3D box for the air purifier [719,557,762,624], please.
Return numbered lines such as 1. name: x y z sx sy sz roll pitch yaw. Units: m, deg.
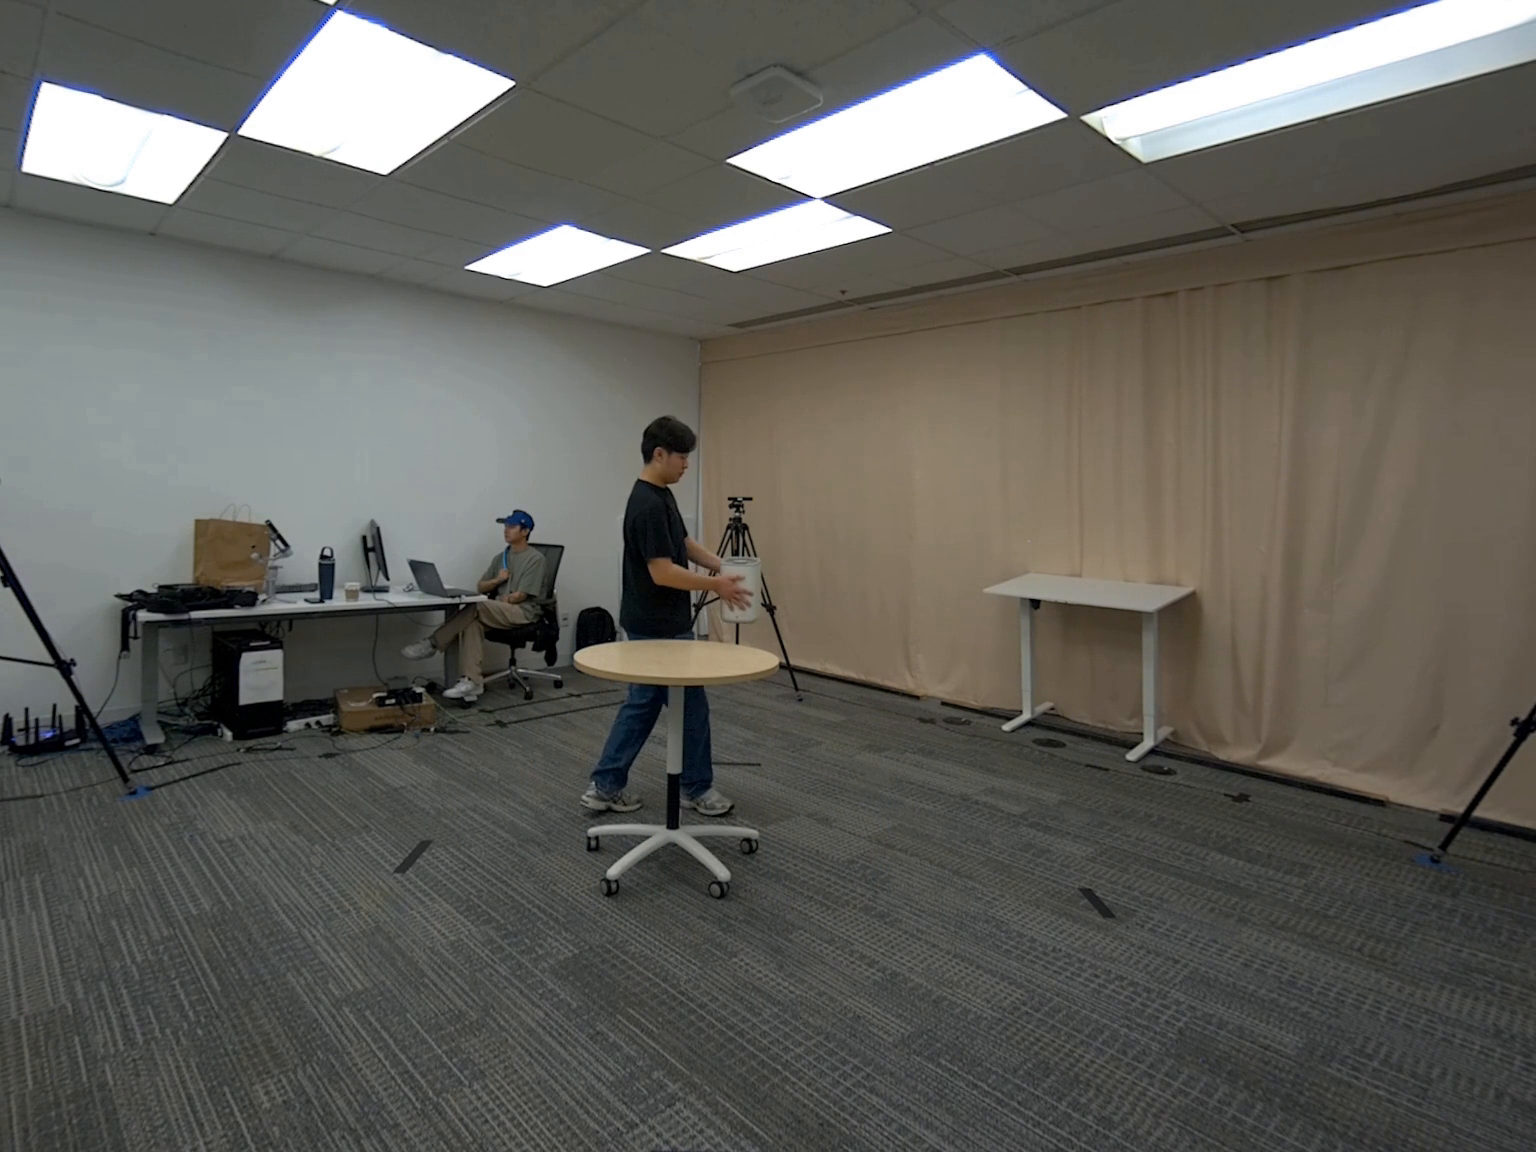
1. air purifier: -0.130 0.059 3.682 0.173 0.263 0.171 2 11 11
